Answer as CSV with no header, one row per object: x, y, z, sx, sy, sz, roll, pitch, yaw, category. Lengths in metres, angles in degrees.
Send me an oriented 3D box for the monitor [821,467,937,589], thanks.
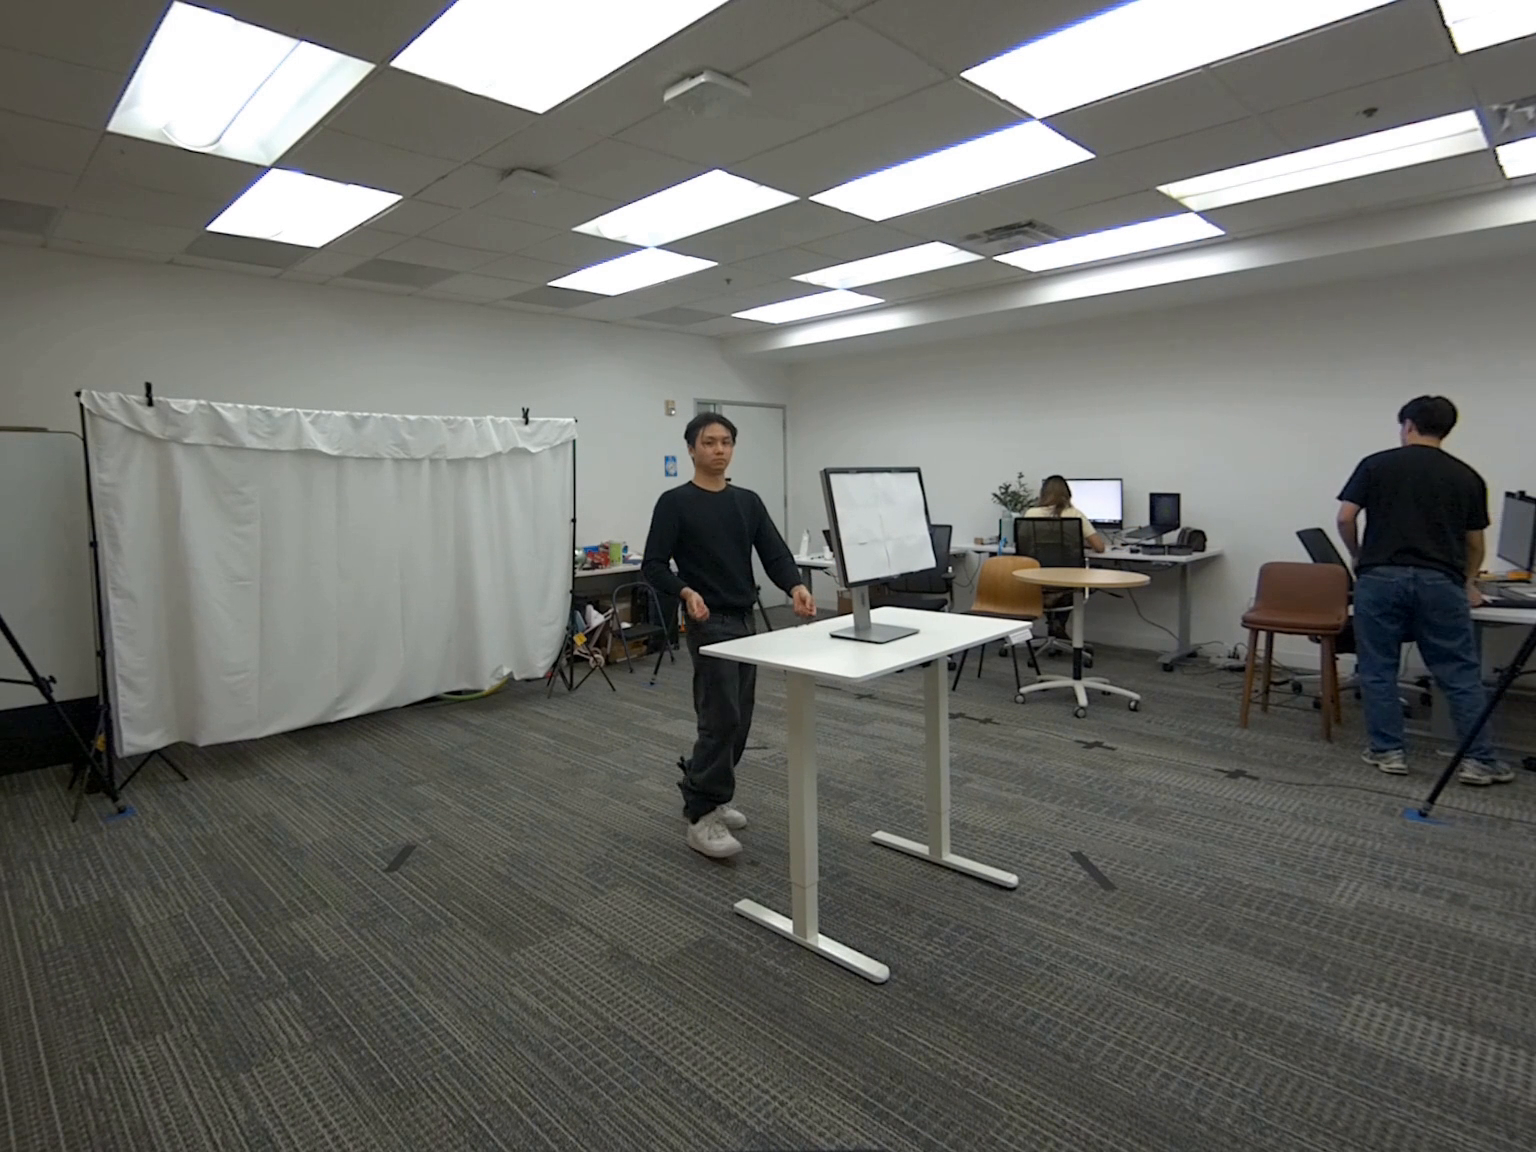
0.344,-0.074,2.755,0.193,0.520,0.525,4,7,37,monitor
